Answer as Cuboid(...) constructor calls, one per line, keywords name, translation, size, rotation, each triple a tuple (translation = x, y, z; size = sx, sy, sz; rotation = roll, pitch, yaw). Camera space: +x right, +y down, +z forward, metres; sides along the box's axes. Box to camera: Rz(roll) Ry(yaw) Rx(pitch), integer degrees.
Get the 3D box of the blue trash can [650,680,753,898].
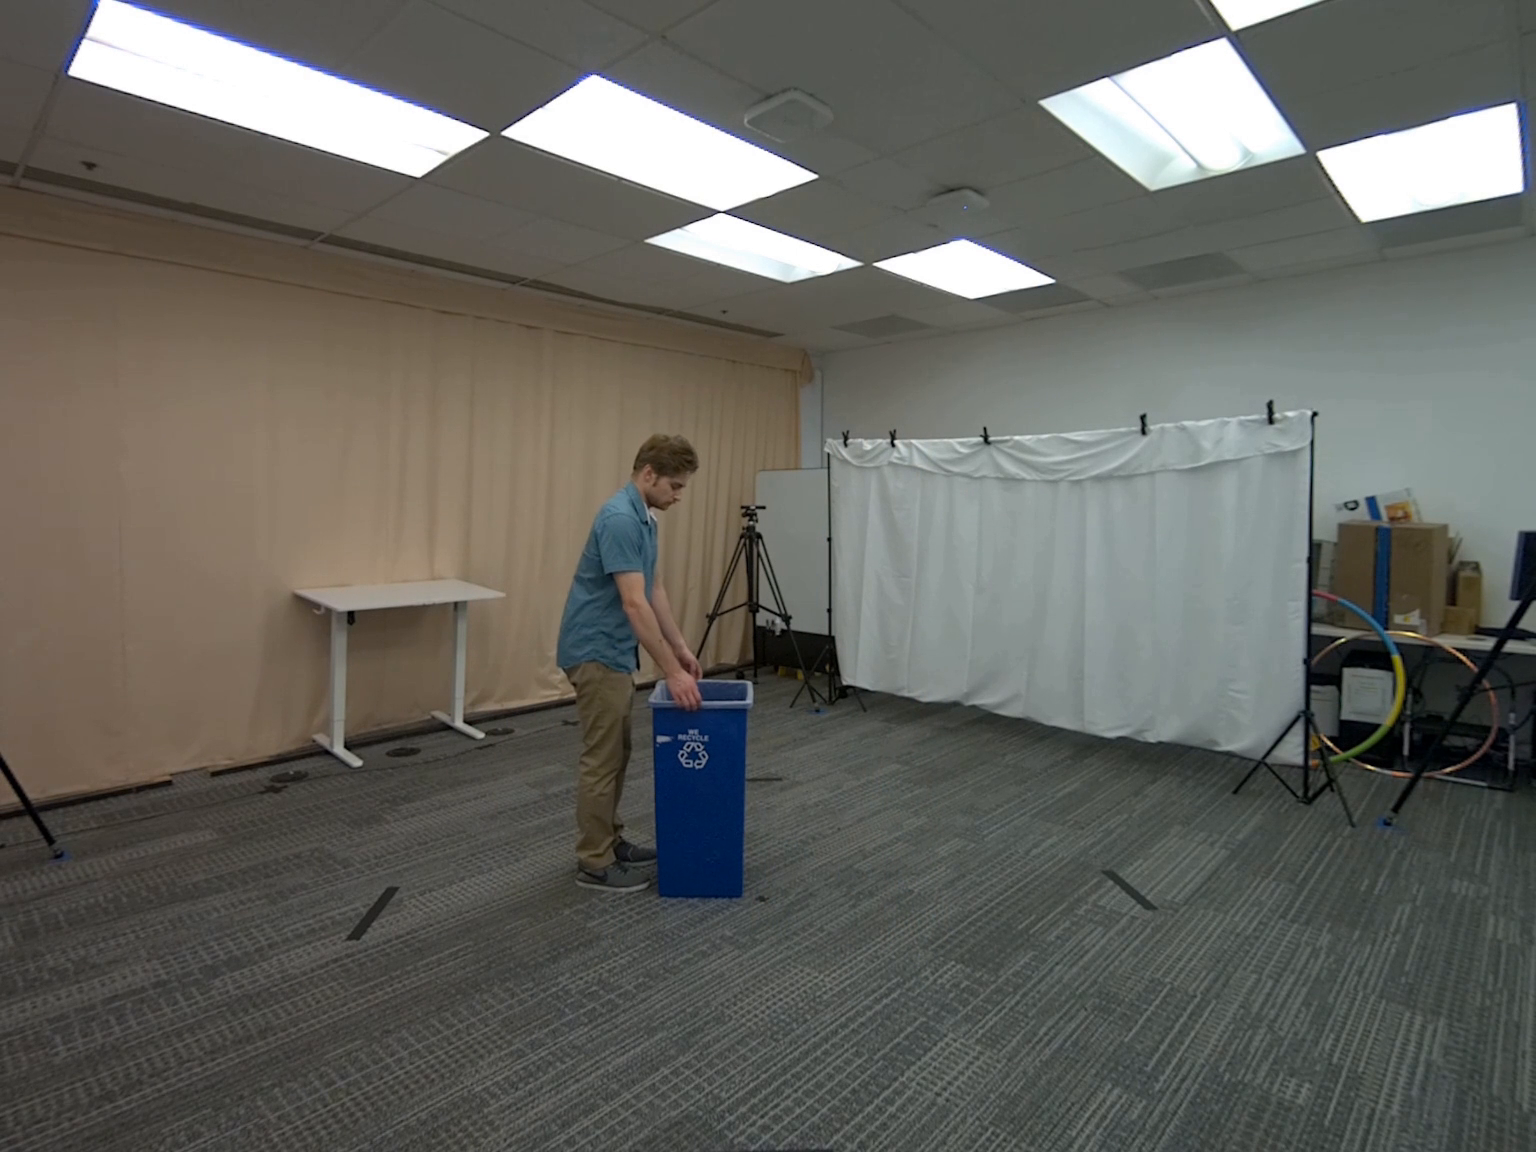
Cuboid(name="blue trash can", translation=(-0.245, 0.780, 3.111), size=(0.378, 0.712, 0.375), rotation=(0, 3, -1))
